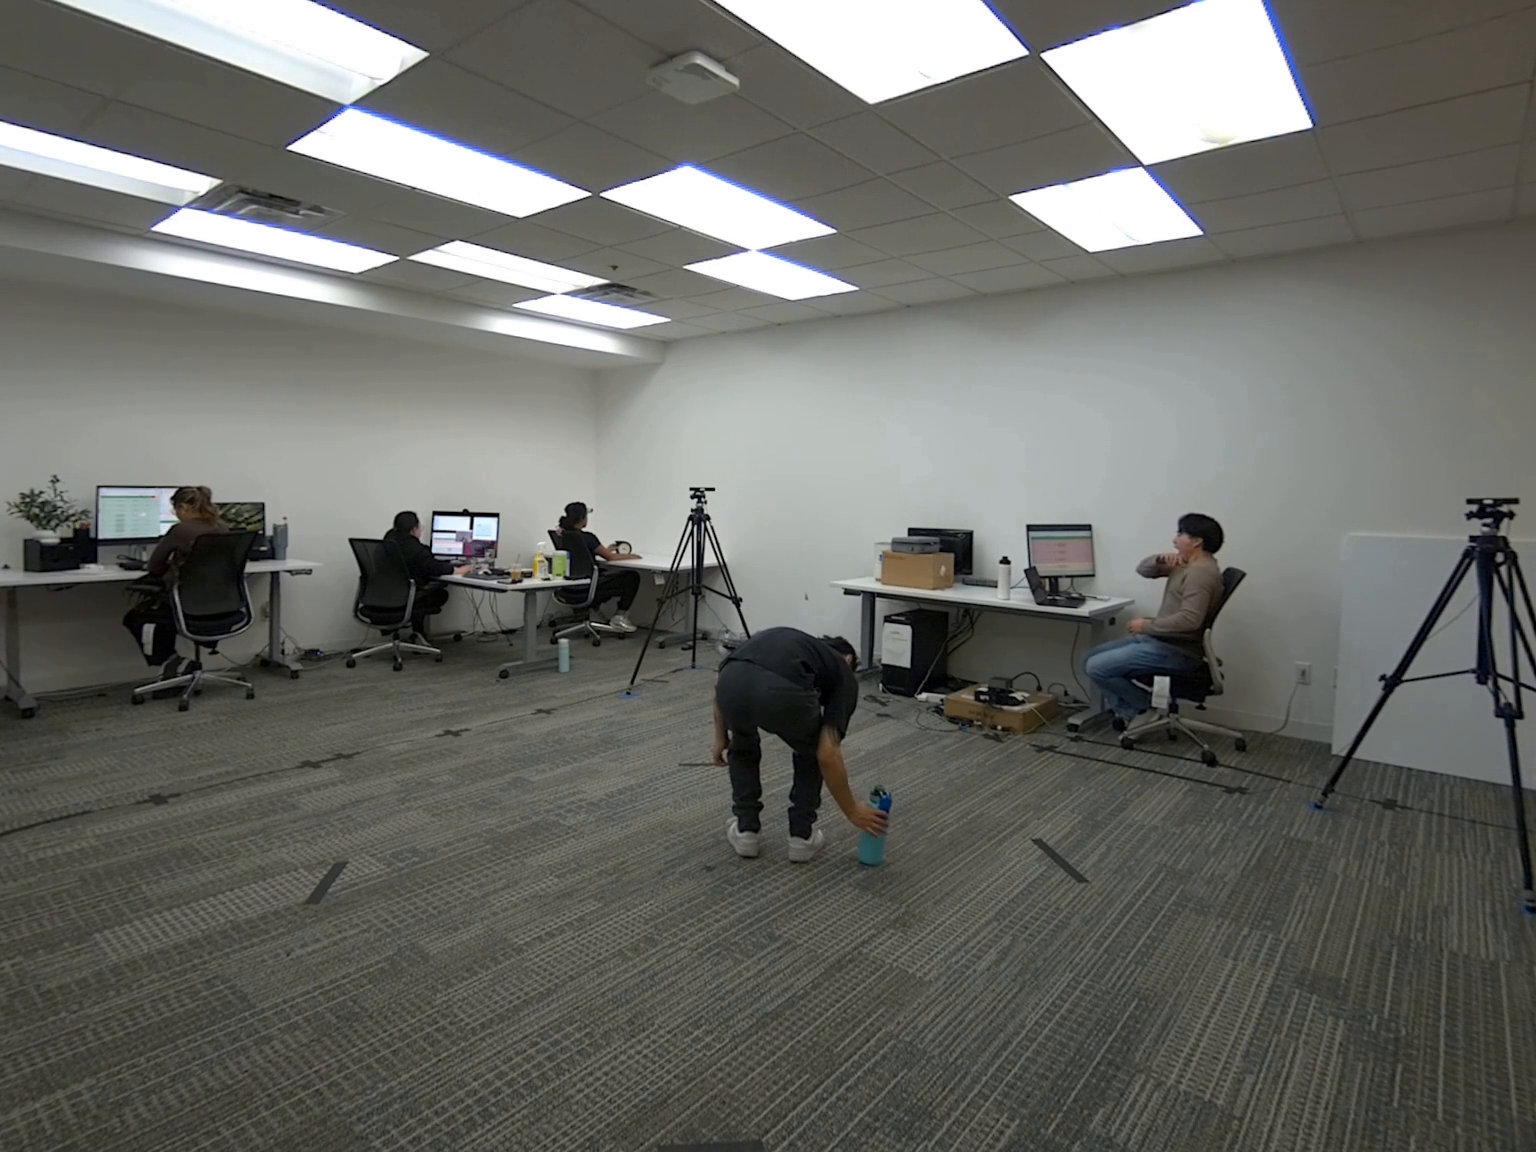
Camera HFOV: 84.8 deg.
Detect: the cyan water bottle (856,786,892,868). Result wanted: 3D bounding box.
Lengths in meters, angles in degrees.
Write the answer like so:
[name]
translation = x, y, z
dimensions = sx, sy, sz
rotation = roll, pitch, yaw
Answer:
[cyan water bottle]
translation = 0.399, 0.927, 3.201
dimensions = 0.092, 0.282, 0.093
rotation = 10, 4, -3
